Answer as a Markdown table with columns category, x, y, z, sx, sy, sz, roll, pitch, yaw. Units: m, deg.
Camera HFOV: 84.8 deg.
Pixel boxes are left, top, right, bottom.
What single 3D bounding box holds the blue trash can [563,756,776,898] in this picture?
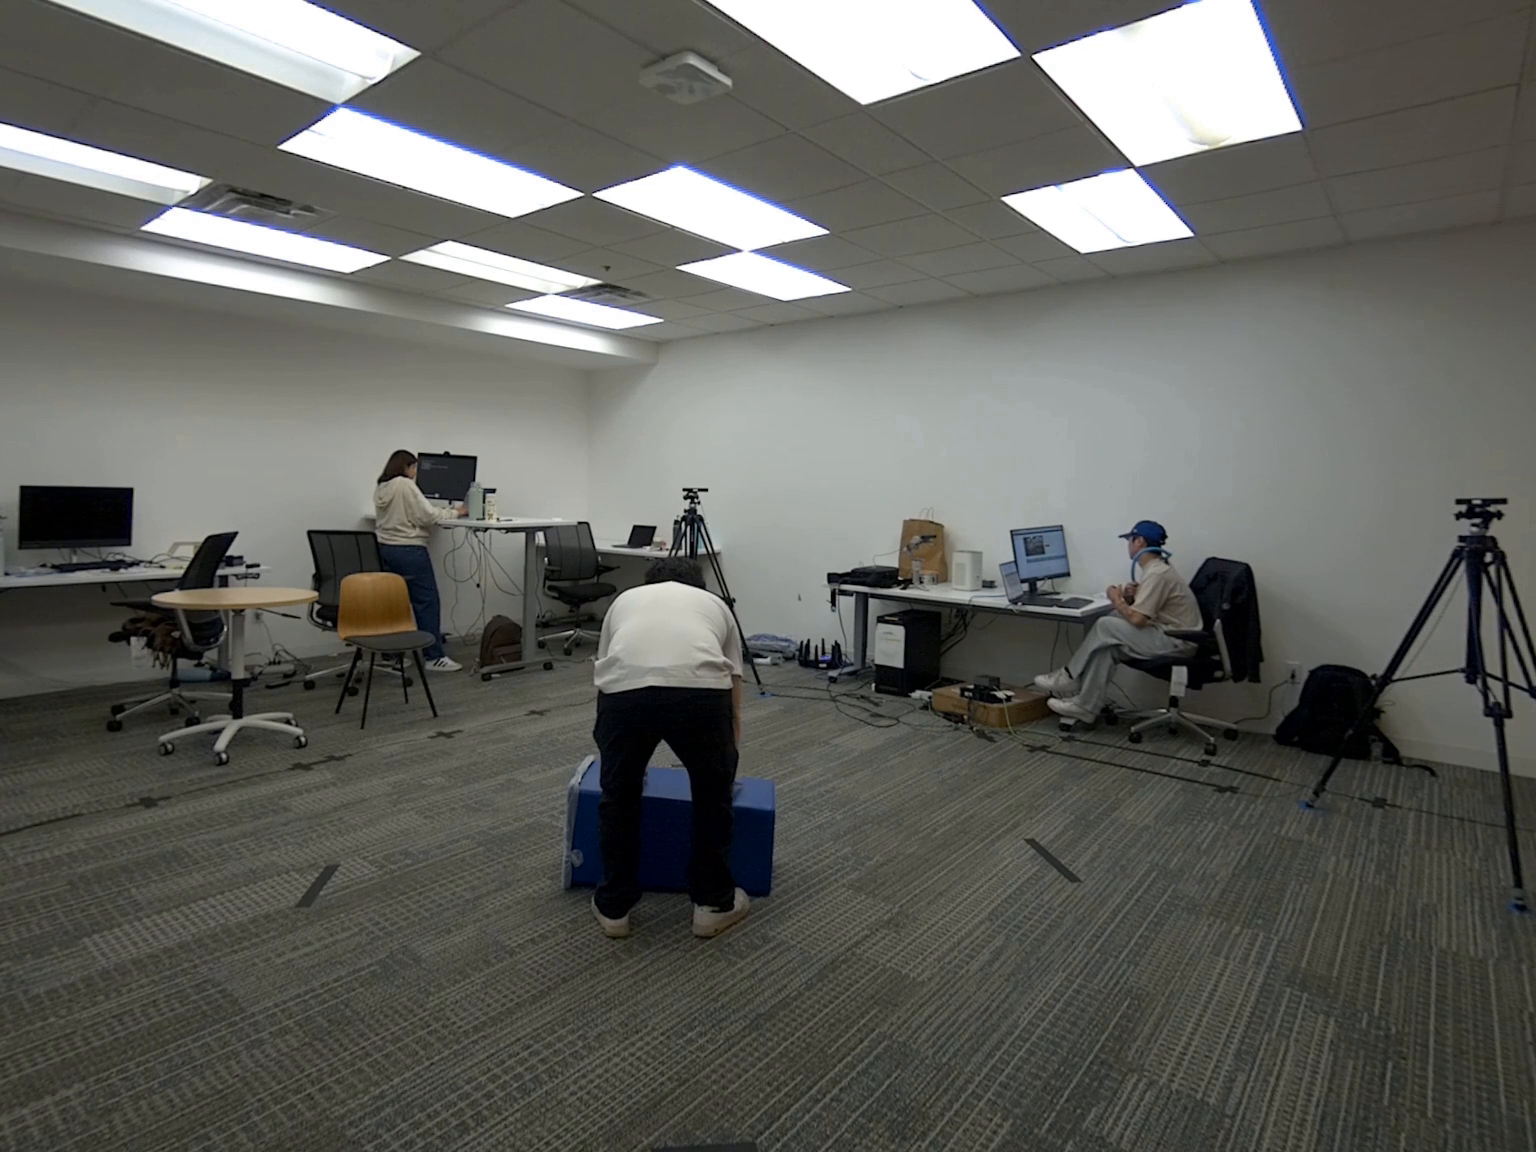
| category | x | y | z | sx | sy | sz | roll | pitch | yaw |
| --- | --- | --- | --- | --- | --- | --- | --- | --- | --- |
| blue trash can | -0.353 | 0.901 | 3.067 | 0.715 | 0.377 | 0.374 | 4 | 4 | 2 |
